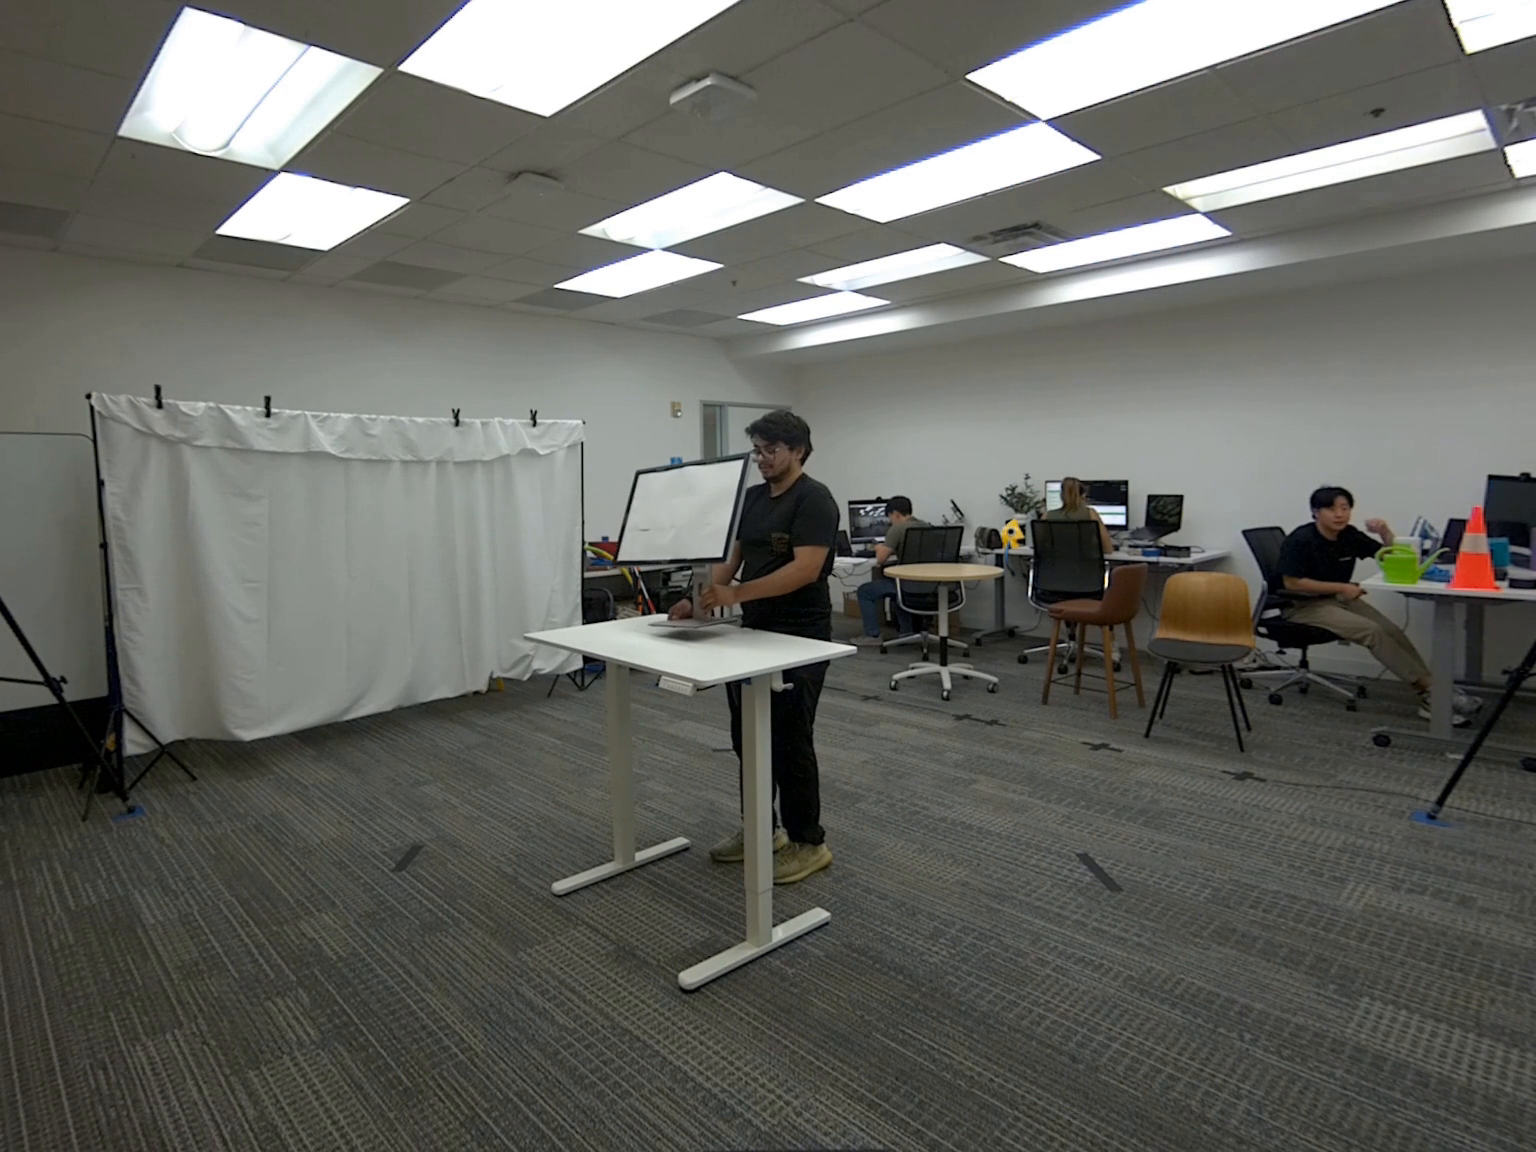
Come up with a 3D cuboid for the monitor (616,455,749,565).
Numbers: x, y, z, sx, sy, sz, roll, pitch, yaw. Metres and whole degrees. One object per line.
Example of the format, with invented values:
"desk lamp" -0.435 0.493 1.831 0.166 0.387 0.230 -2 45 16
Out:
"monitor" -0.250 -0.107 2.862 0.581 0.559 0.203 -3 -13 43
